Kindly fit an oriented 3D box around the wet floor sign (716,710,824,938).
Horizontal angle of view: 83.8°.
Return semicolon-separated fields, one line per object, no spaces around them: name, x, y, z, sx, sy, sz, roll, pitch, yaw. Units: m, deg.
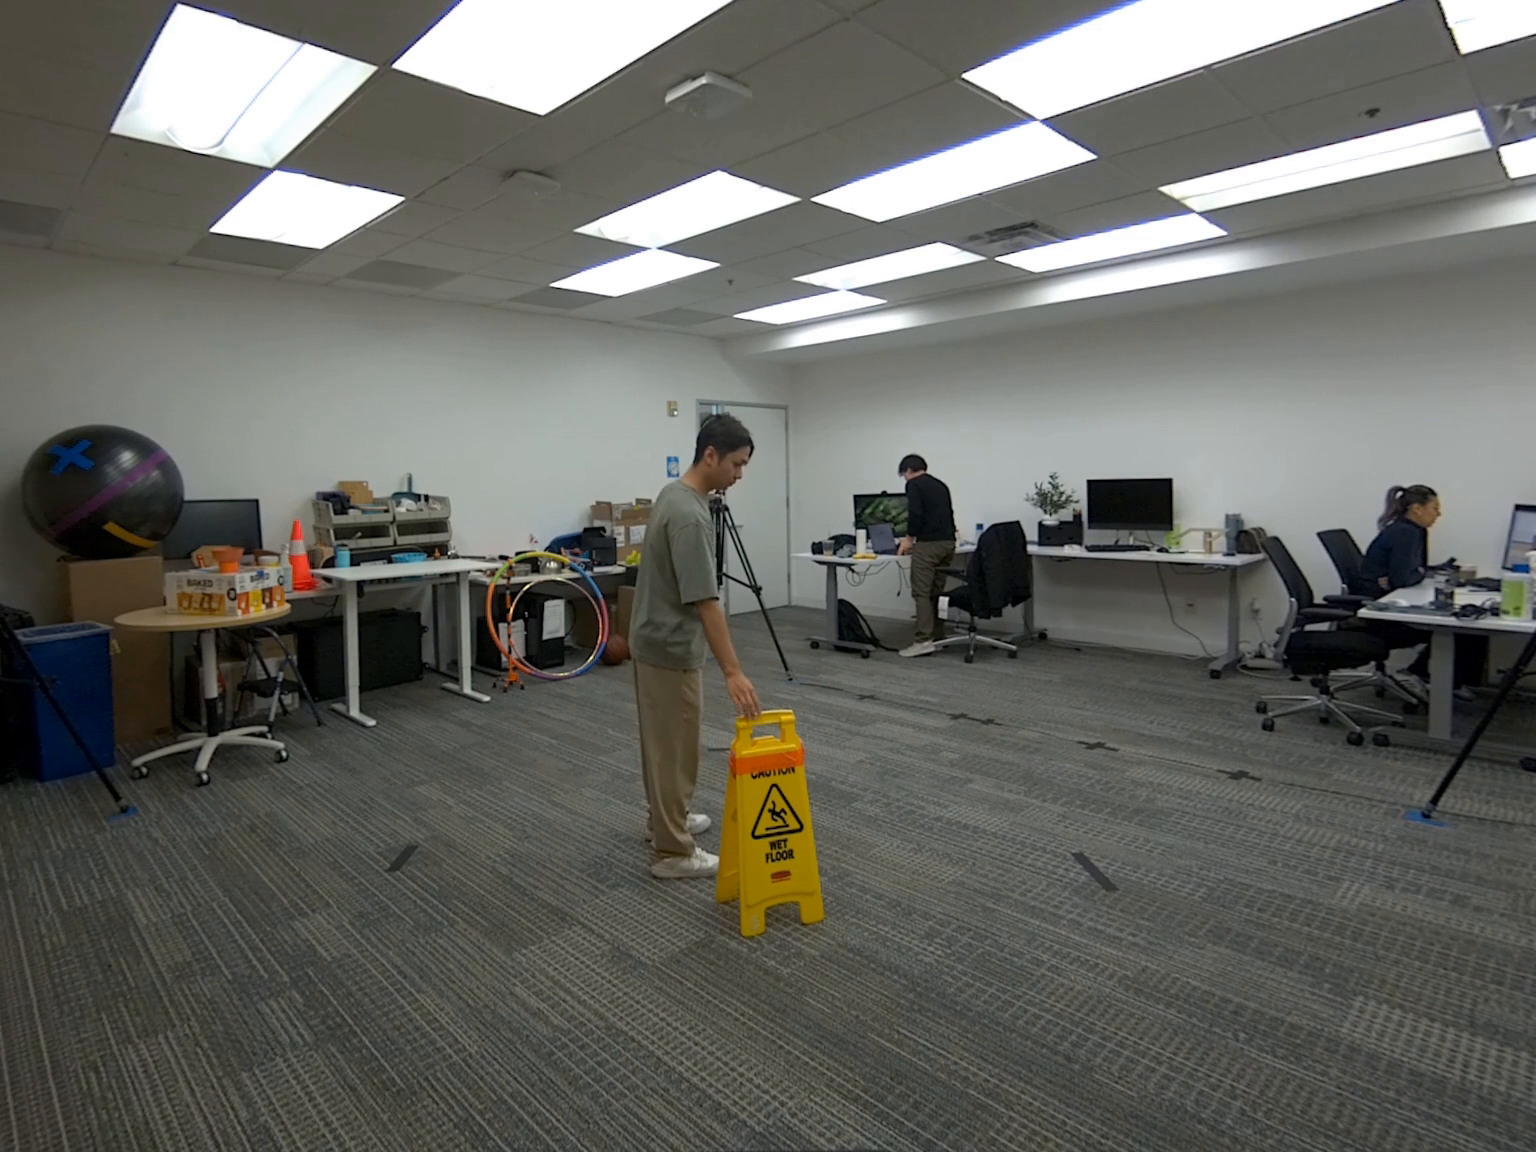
wet floor sign;0.001;0.759;2.746;0.277;0.644;0.296;-2;4;-22
